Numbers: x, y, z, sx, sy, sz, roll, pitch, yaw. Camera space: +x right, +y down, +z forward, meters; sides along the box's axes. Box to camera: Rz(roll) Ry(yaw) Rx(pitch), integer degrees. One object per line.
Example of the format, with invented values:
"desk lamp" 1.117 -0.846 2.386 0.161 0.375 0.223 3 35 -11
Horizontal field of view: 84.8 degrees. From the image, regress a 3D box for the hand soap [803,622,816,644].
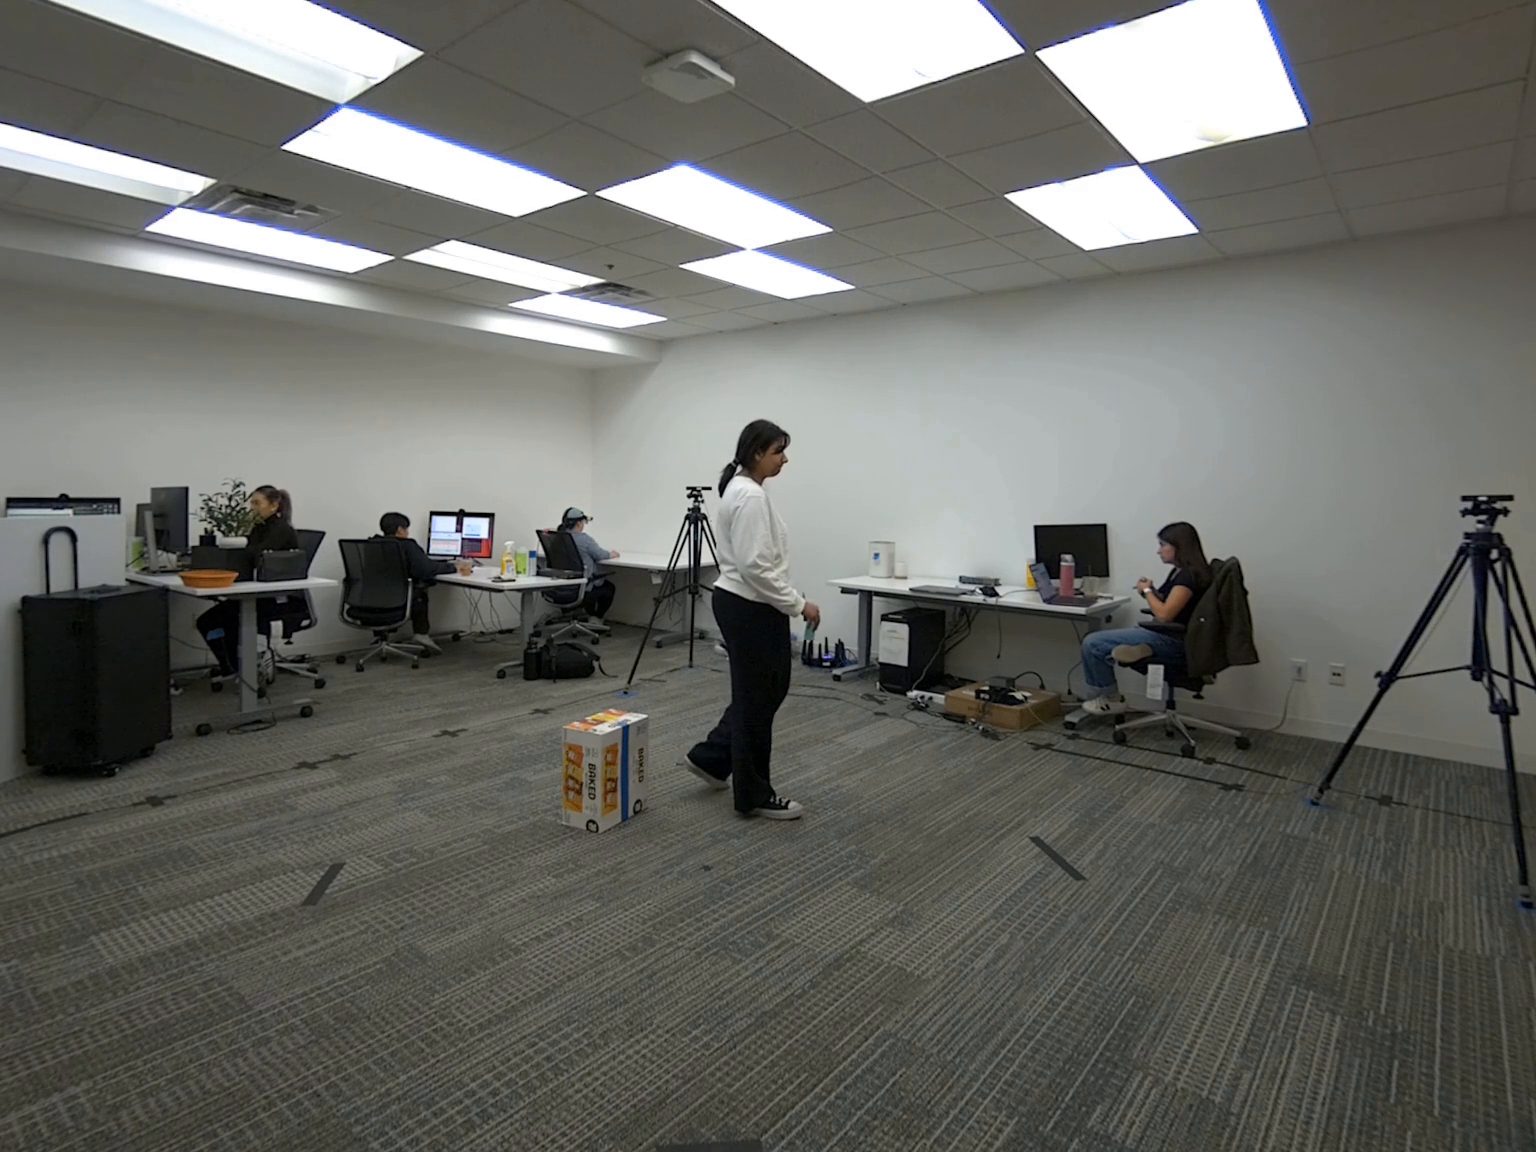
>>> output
"hand soap" 0.178 0.184 3.538 0.043 0.167 0.085 2 4 0
